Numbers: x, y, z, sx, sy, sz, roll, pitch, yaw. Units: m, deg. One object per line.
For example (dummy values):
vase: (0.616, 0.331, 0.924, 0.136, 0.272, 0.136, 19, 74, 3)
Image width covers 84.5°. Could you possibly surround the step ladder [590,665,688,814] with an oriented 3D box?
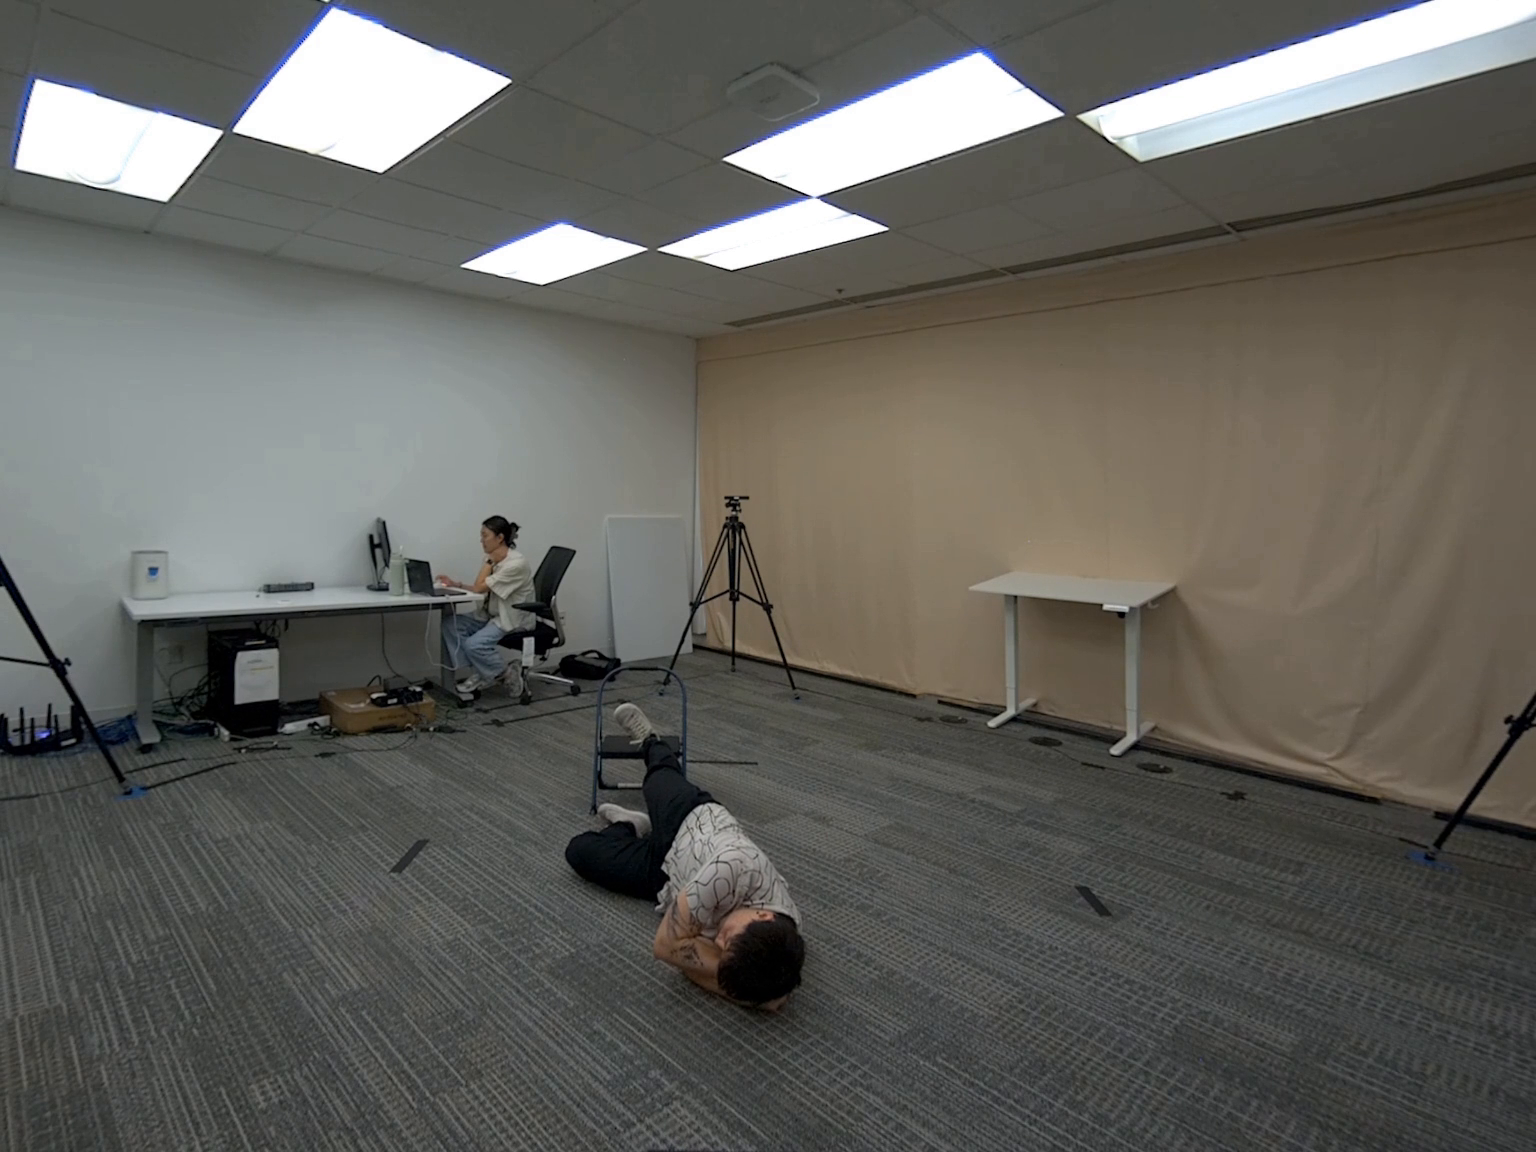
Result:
step ladder: (-0.586, 0.731, 3.843, 0.428, 0.605, 0.352, 2, 3, -6)
